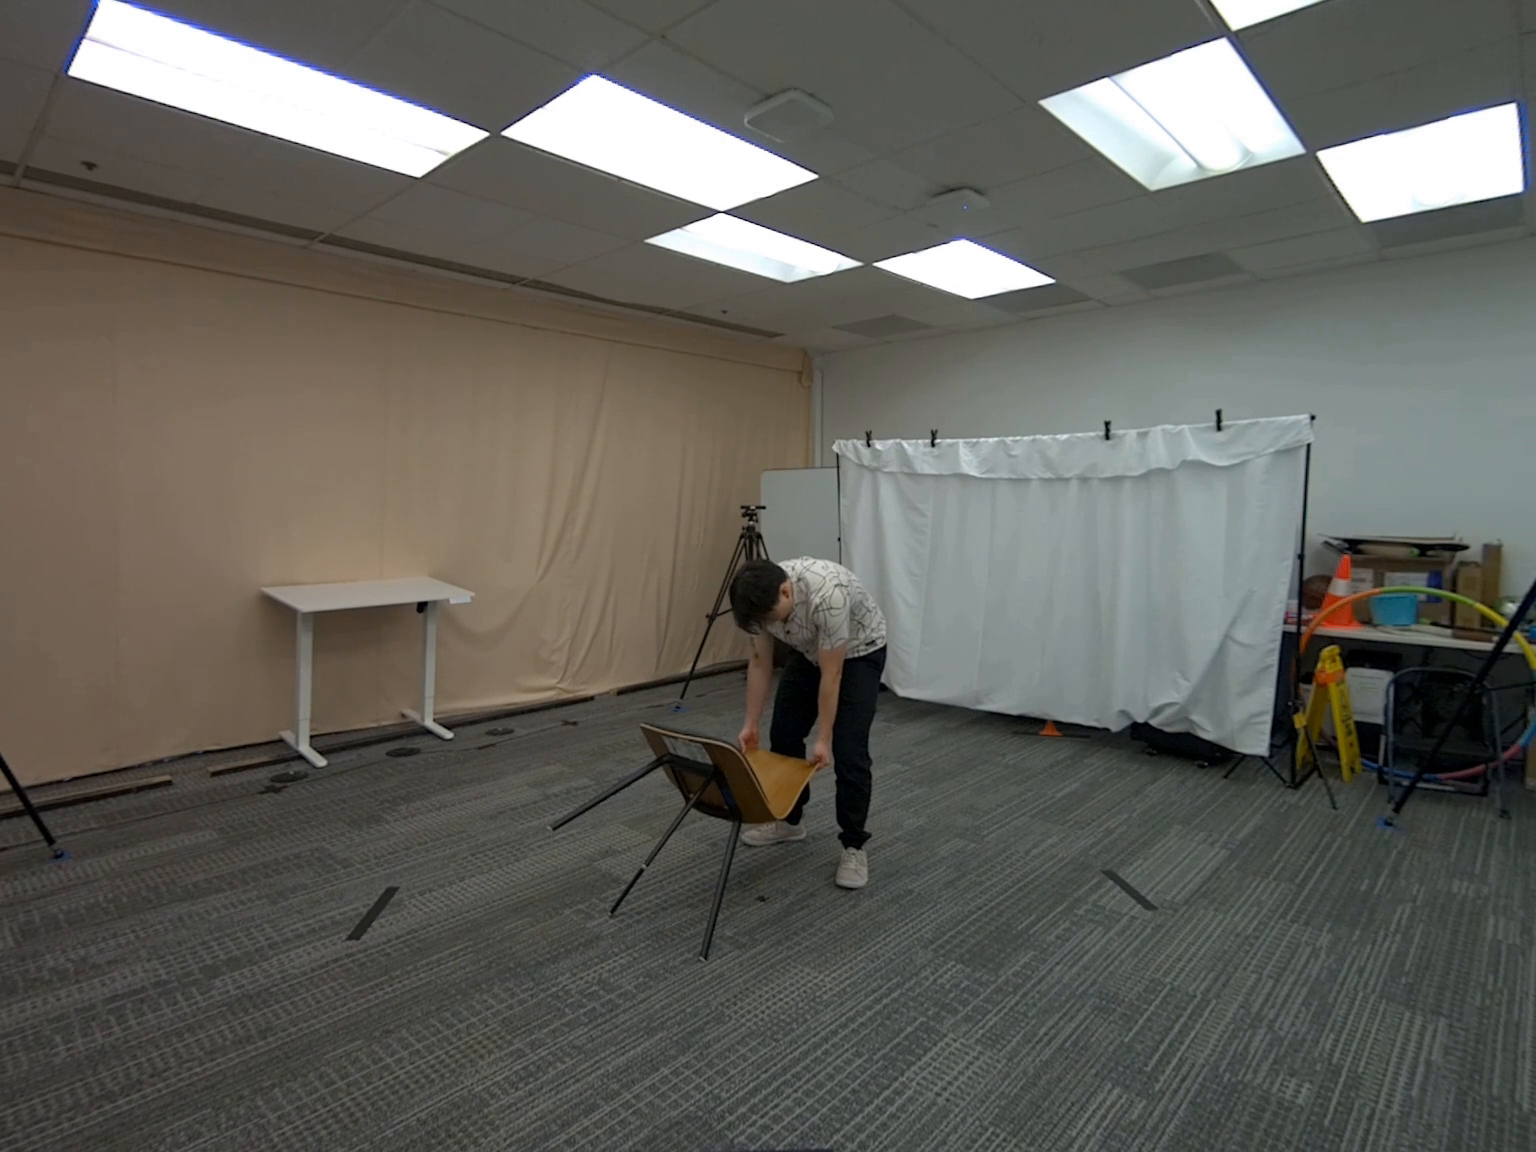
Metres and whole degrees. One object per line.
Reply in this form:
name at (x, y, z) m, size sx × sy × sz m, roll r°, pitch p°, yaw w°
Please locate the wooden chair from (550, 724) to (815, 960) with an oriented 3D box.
wooden chair at (-0.228, 0.726, 2.869) m, size 0.494 × 0.512 × 0.868 m, roll 2°, pitch 34°, yaw 41°
